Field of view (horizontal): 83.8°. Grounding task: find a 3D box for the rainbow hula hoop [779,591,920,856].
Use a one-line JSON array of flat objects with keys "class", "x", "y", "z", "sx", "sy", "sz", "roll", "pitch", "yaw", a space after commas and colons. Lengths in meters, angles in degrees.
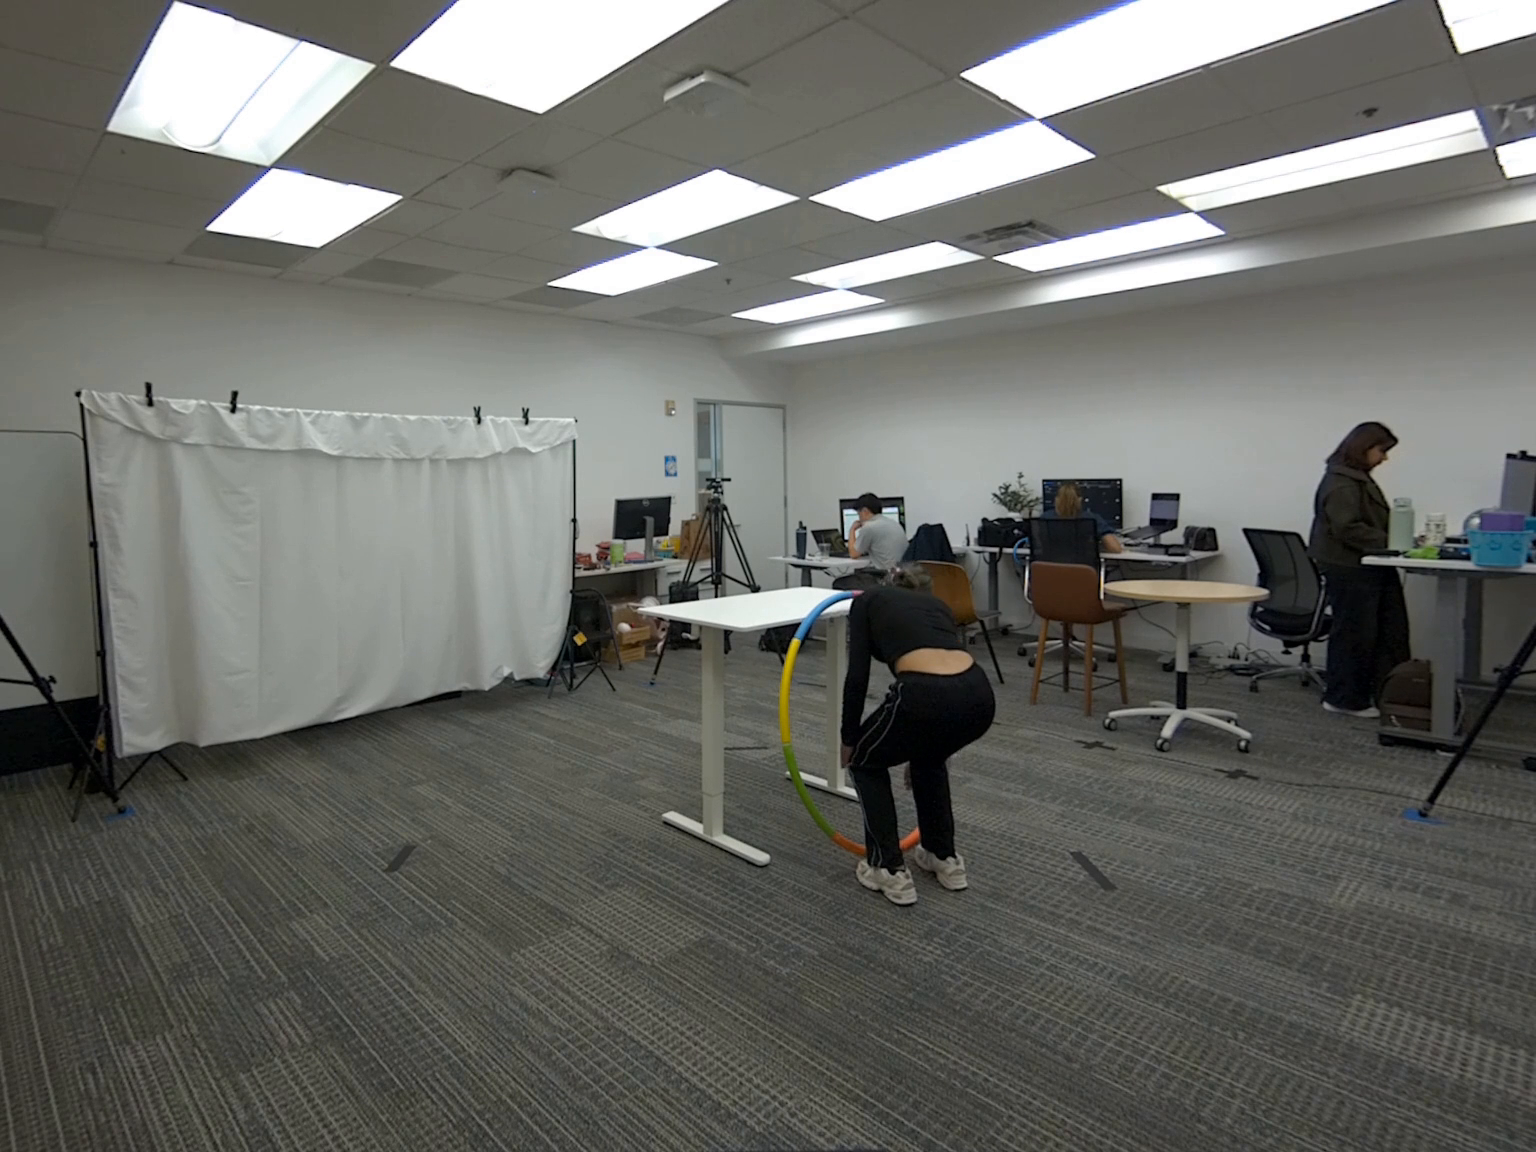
[{"class": "rainbow hula hoop", "x": 0.399, "y": 0.545, "z": 3.243, "sx": 0.953, "sy": 0.987, "sz": 0.036, "roll": -6, "pitch": -10, "yaw": -44}]
